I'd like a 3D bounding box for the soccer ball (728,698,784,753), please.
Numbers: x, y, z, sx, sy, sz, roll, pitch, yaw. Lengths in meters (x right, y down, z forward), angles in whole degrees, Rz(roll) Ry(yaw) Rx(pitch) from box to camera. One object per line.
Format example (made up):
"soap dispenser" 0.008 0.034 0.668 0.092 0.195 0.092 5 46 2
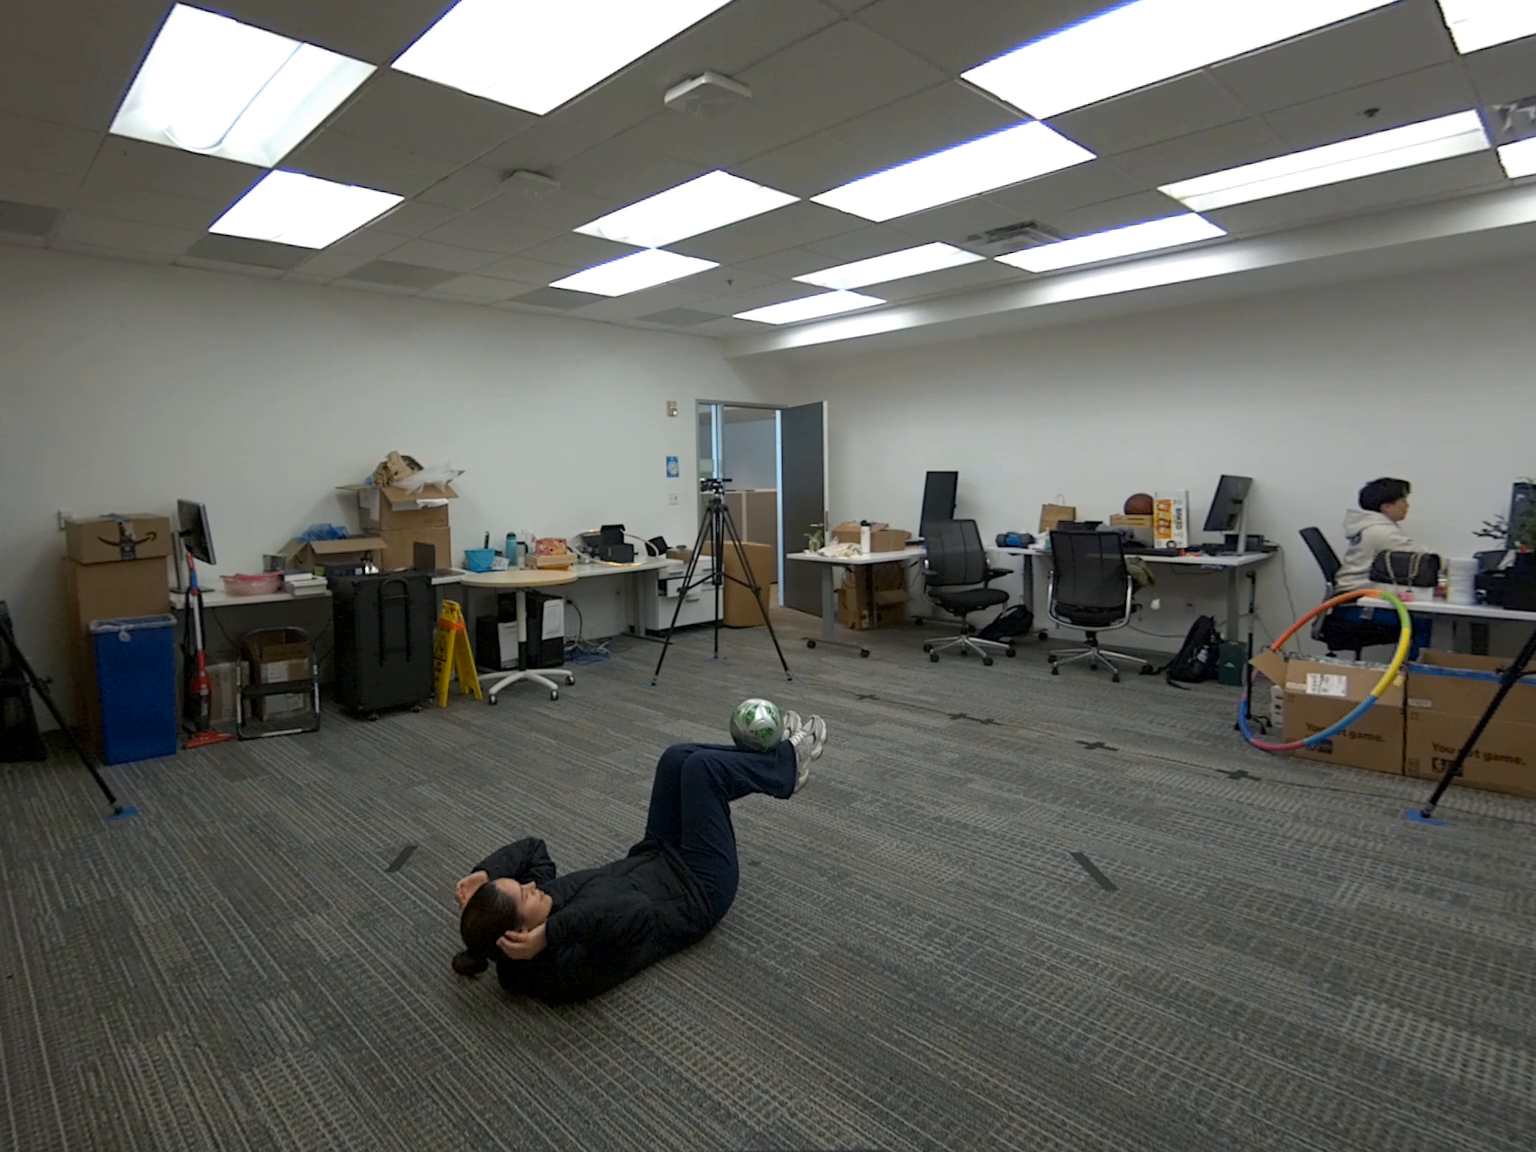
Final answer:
"soccer ball" -0.032 0.507 2.886 0.187 0.187 0.188 0 1 -2
